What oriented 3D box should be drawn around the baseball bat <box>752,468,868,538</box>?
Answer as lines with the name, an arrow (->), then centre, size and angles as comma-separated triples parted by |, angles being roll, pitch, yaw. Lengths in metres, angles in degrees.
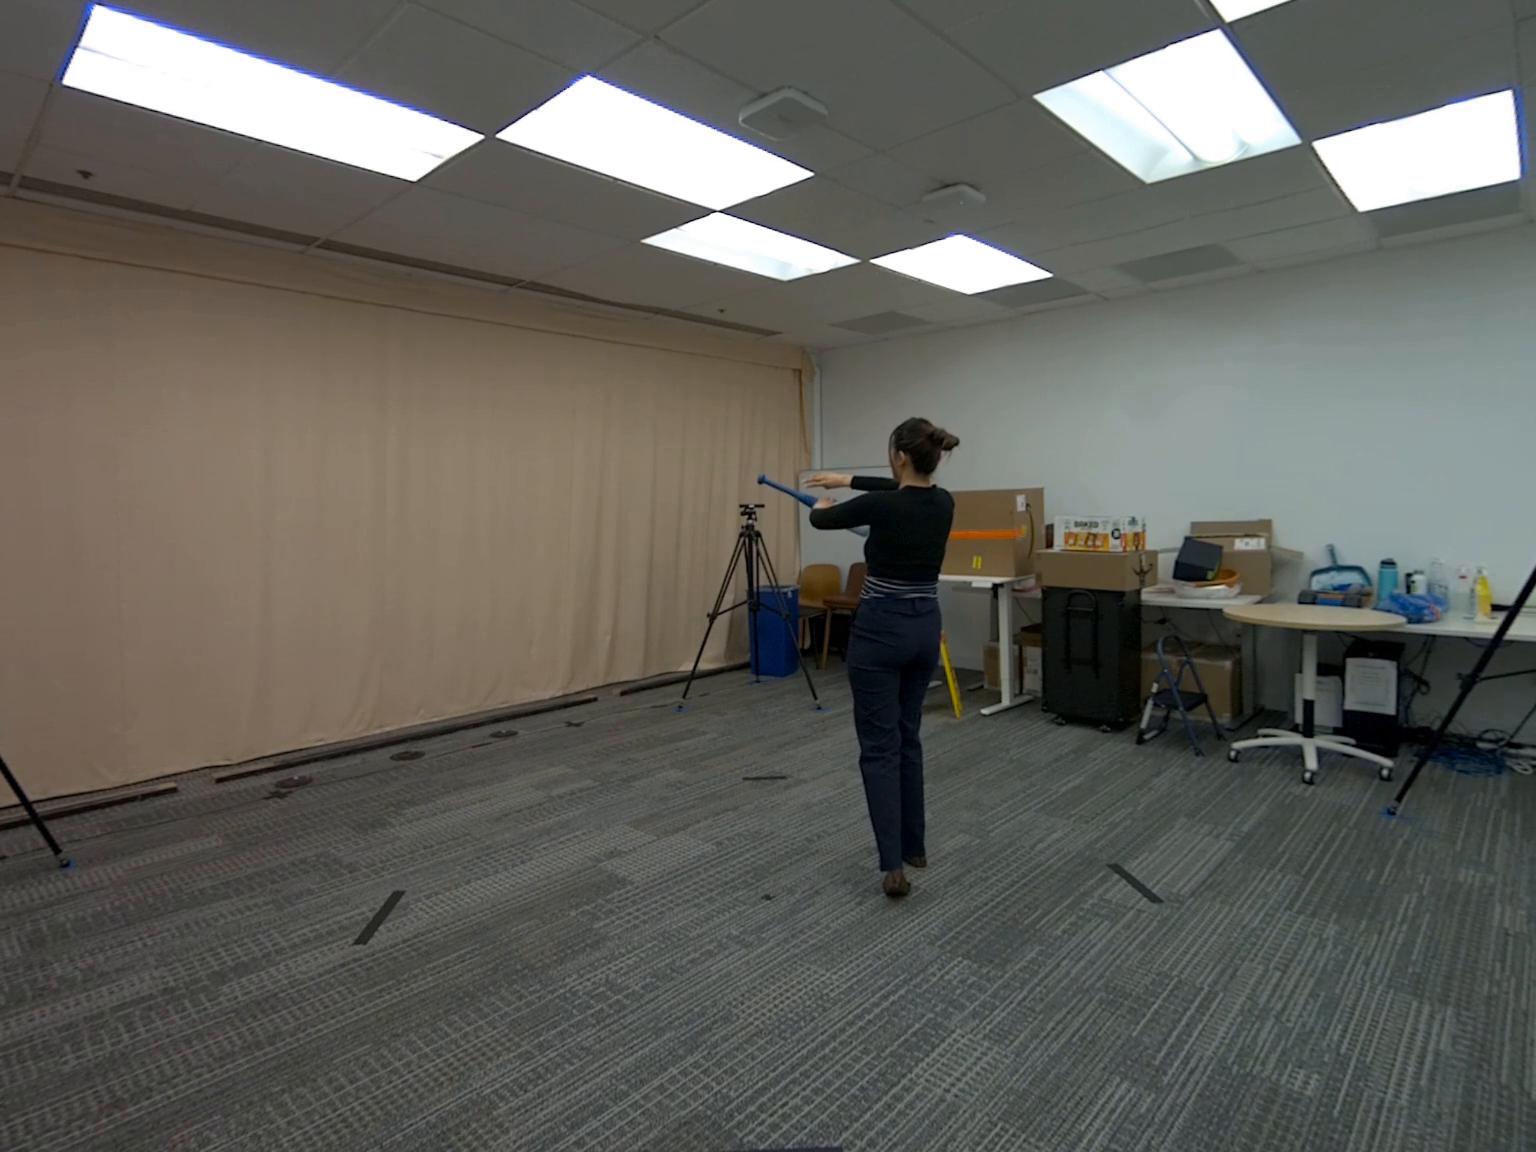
baseball bat -> 0.202, -0.315, 3.631 | 0.553, 0.089, 0.087 | 25, 10, 15
